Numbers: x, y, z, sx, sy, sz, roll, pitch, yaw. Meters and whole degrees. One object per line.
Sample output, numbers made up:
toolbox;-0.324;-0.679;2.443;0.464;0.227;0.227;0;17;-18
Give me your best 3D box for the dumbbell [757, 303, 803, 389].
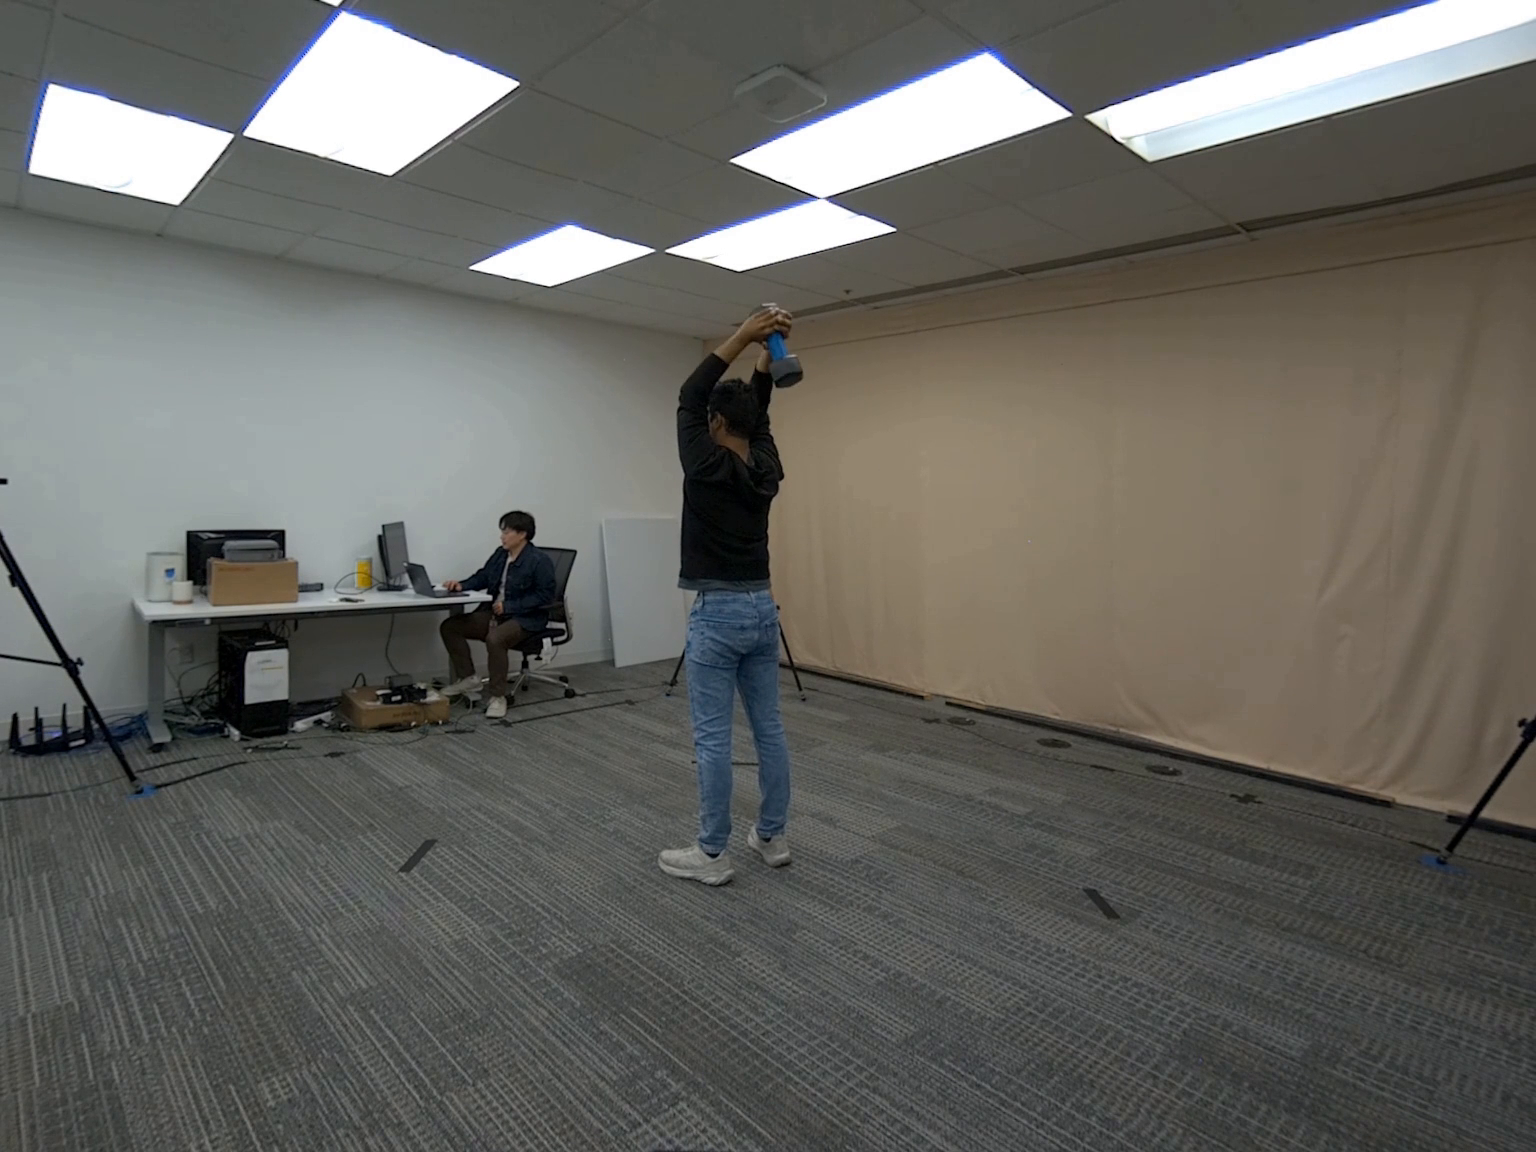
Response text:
dumbbell;0.021;-0.810;3.007;0.121;0.297;0.109;-14;-13;-25
